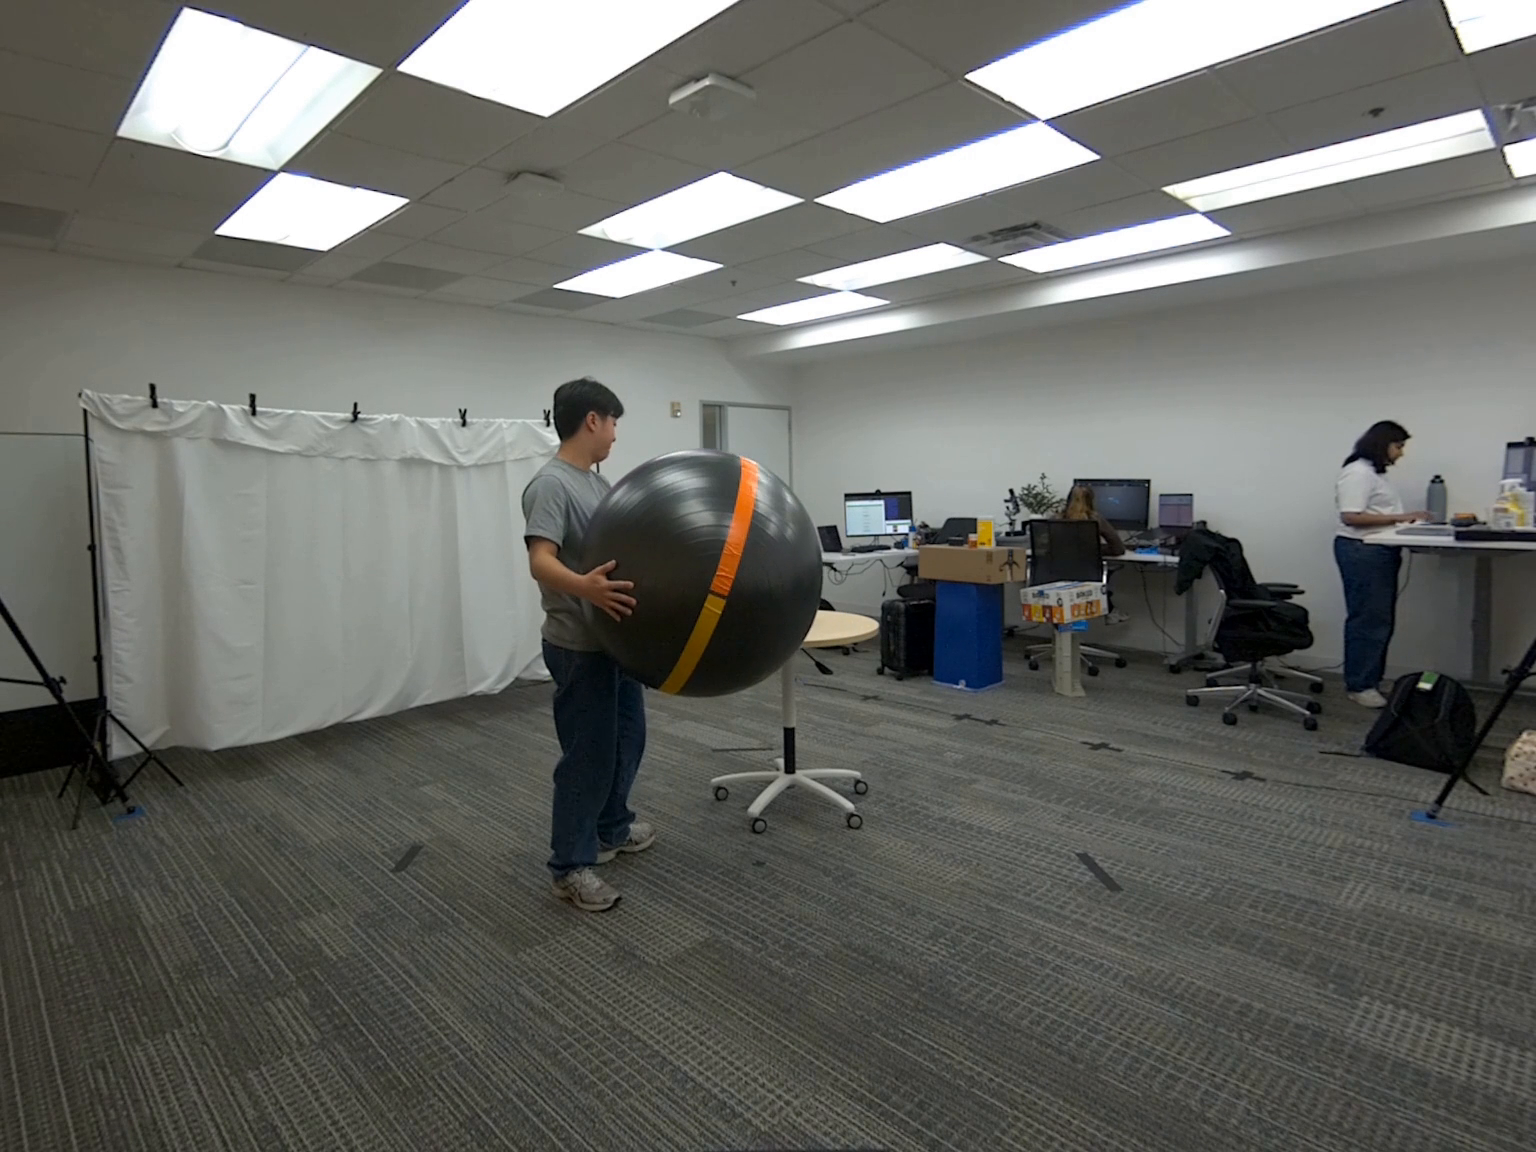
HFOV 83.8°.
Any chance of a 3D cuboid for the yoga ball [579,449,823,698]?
[{"bbox_3d":[-0.206,-0.003,2.636,0.757,0.755,0.762,-1,5,-2],"label":"yoga ball"}]
